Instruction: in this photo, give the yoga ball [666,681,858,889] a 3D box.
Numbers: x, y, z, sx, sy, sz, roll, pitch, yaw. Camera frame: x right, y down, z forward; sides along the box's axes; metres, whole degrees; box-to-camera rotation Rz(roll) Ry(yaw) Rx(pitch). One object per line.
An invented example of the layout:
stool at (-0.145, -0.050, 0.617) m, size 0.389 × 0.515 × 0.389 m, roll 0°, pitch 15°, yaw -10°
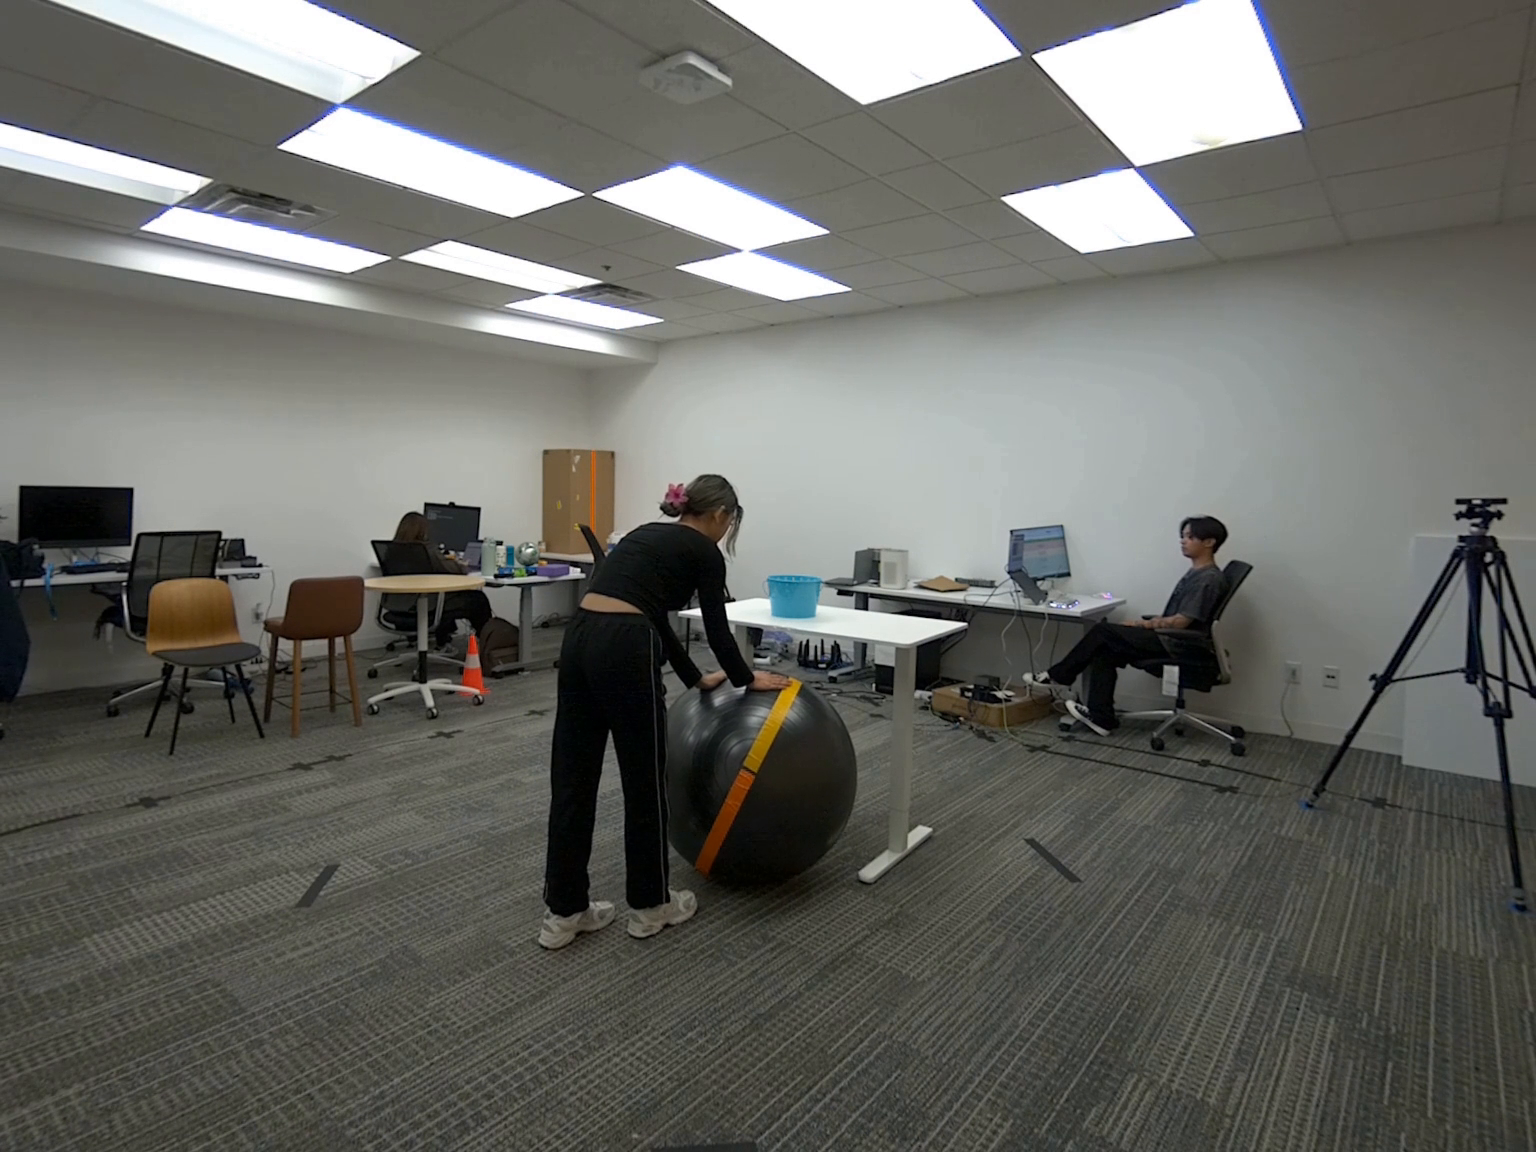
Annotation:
yoga ball at (-0.061, 0.709, 3.093) m, size 0.757 × 0.756 × 0.761 m, roll 1°, pitch 4°, yaw -2°
